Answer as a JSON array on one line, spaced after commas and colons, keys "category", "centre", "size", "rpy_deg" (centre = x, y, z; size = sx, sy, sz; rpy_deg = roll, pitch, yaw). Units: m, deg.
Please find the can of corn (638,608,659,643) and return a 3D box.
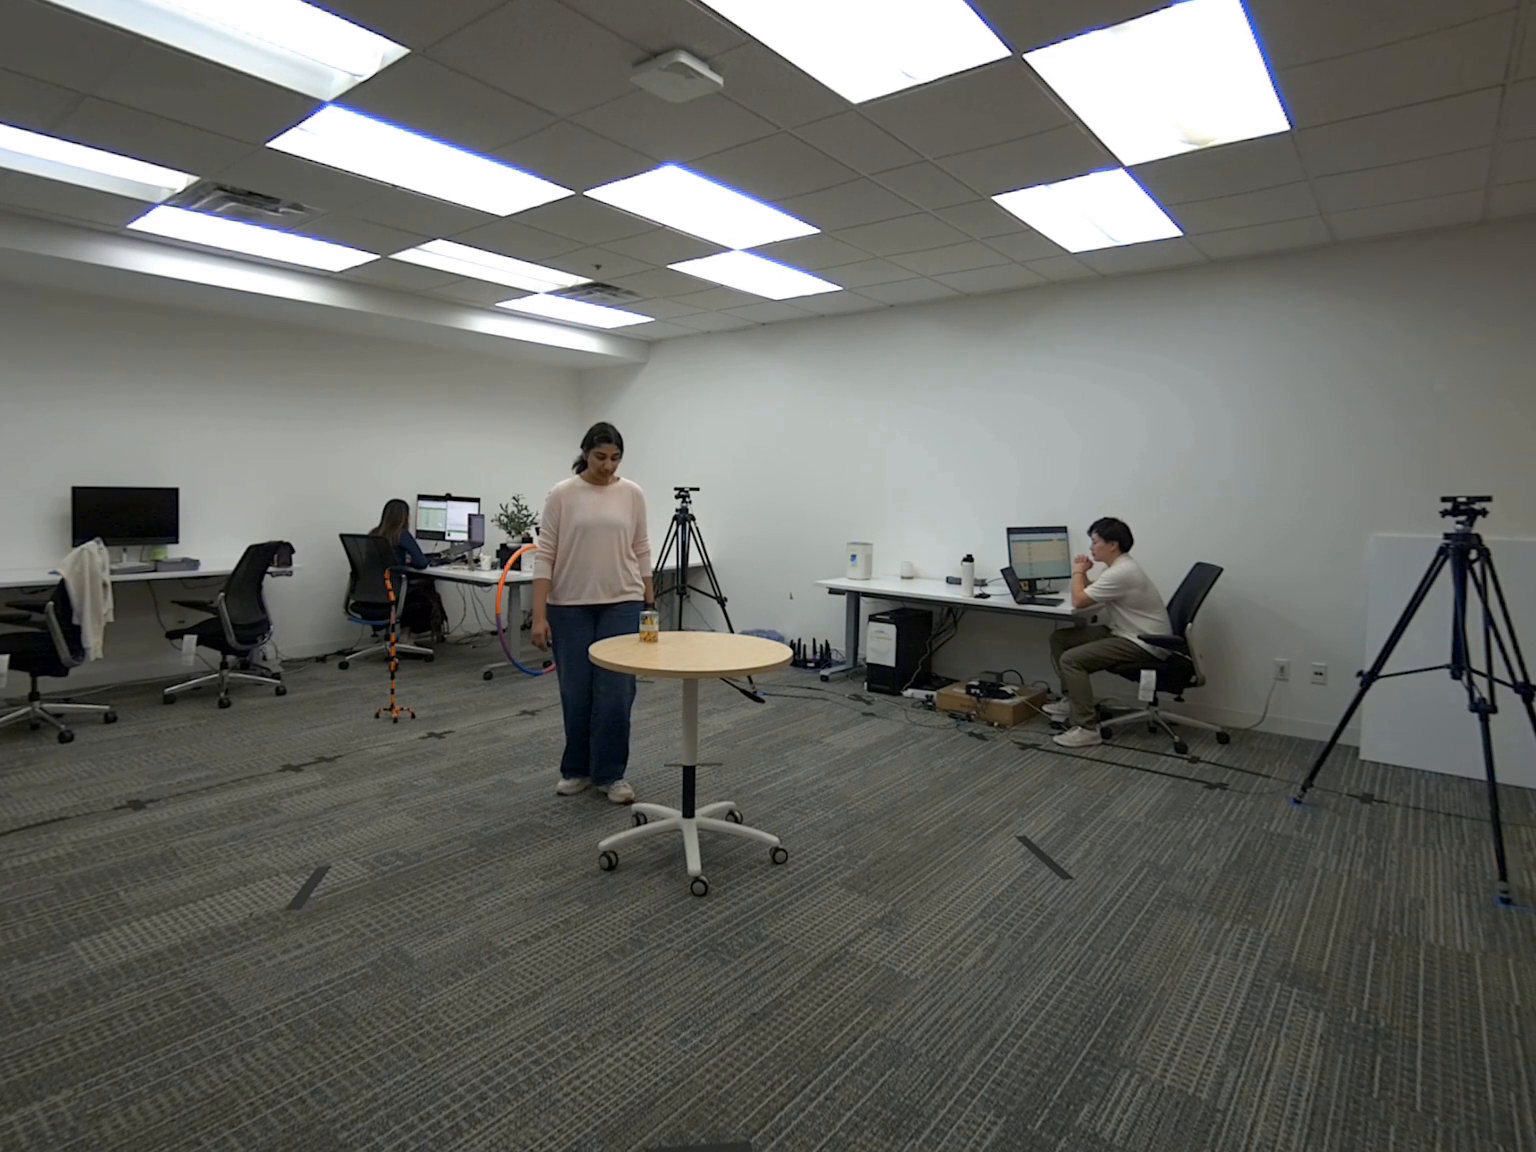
[{"category": "can of corn", "centre": [-0.484, 0.198, 3.349], "size": [0.074, 0.111, 0.074], "rpy_deg": [1, 3, -2]}]
